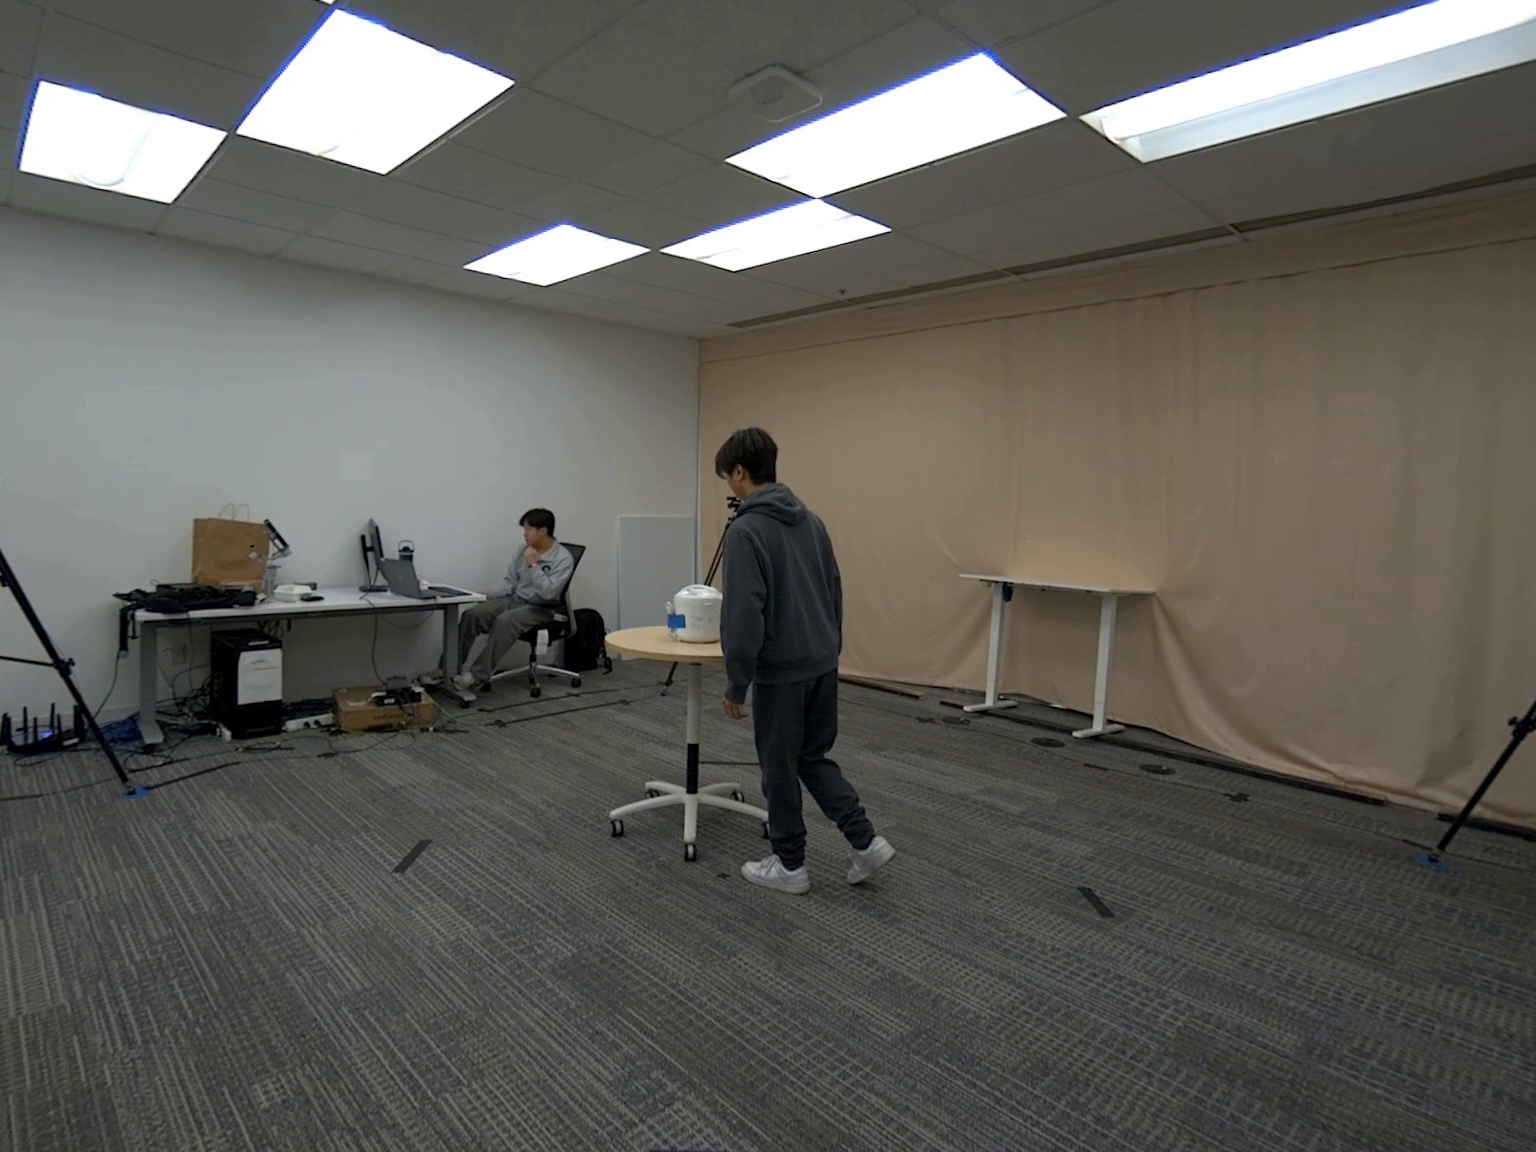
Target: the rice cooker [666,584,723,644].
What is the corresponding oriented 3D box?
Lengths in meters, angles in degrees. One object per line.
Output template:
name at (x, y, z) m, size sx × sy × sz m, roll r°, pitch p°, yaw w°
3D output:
rice cooker at (-0.295, 0.153, 3.519) m, size 0.225 × 0.232 × 0.214 m, roll 5°, pitch 5°, yaw 26°
